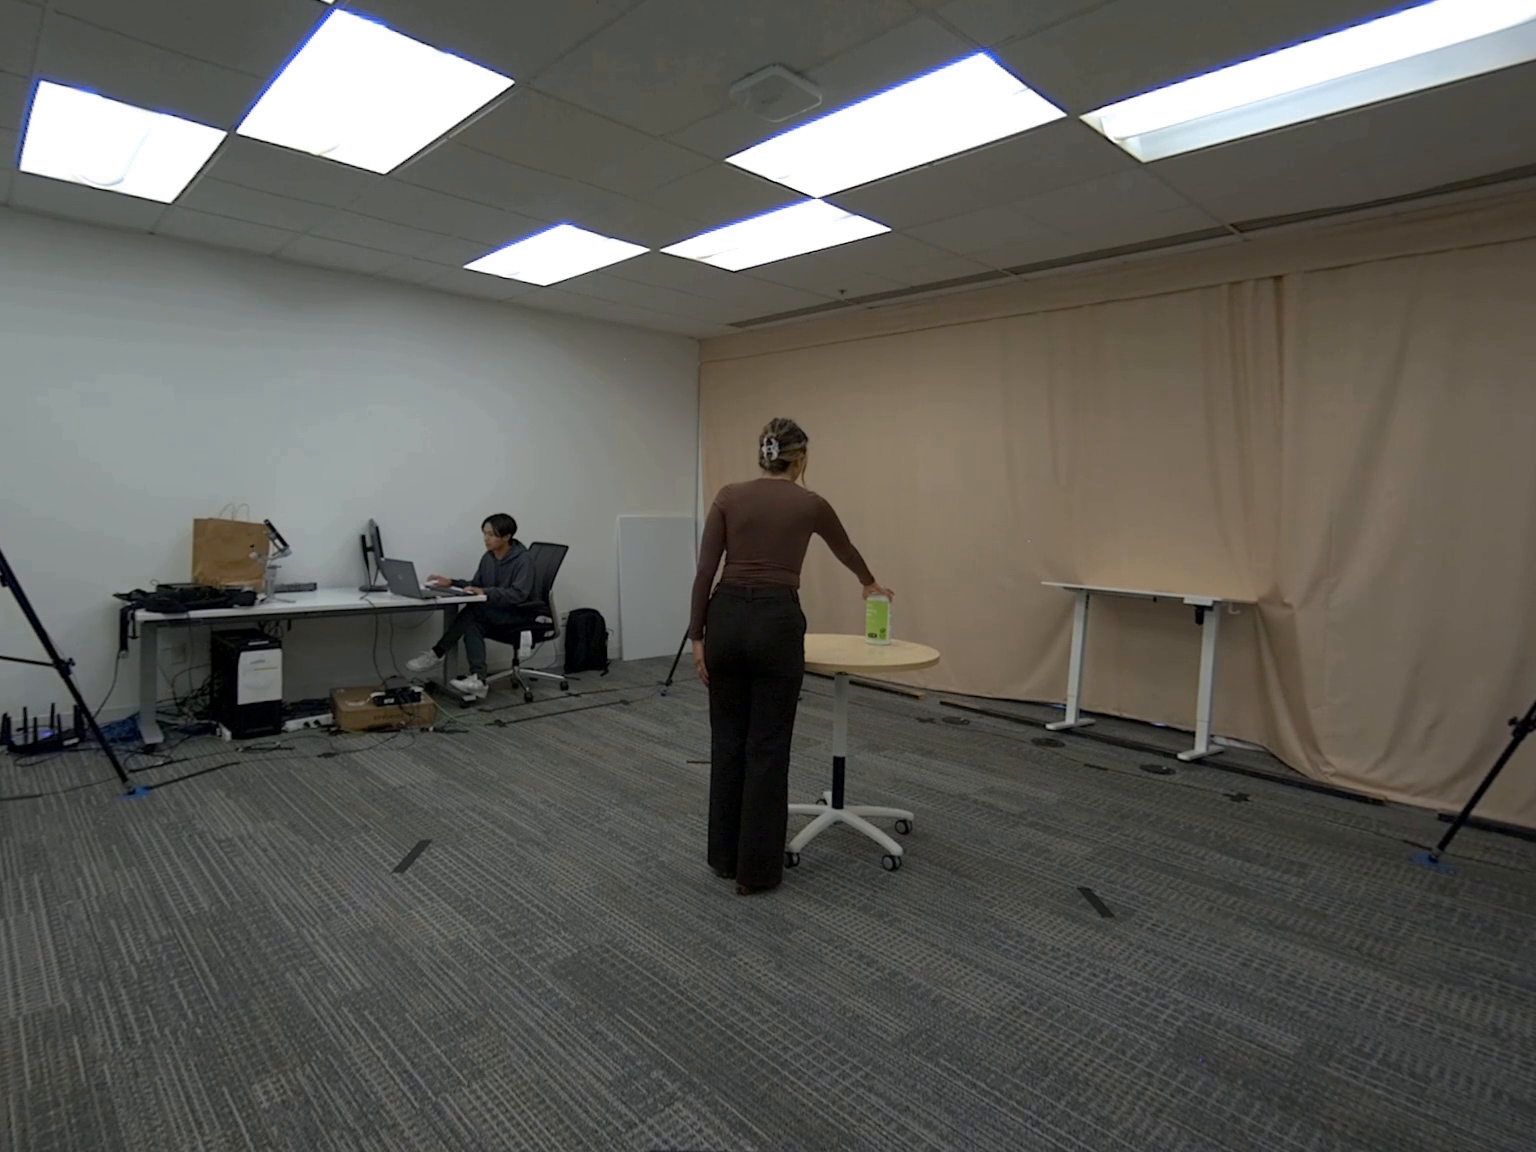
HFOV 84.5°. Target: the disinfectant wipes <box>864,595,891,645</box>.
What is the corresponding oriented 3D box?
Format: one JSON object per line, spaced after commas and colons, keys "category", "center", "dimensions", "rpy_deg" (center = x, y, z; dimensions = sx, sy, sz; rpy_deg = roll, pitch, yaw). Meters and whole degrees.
{"category": "disinfectant wipes", "center": [0.463, 0.180, 3.565], "dimensions": [0.118, 0.217, 0.118], "rpy_deg": [1, 5, -1]}
